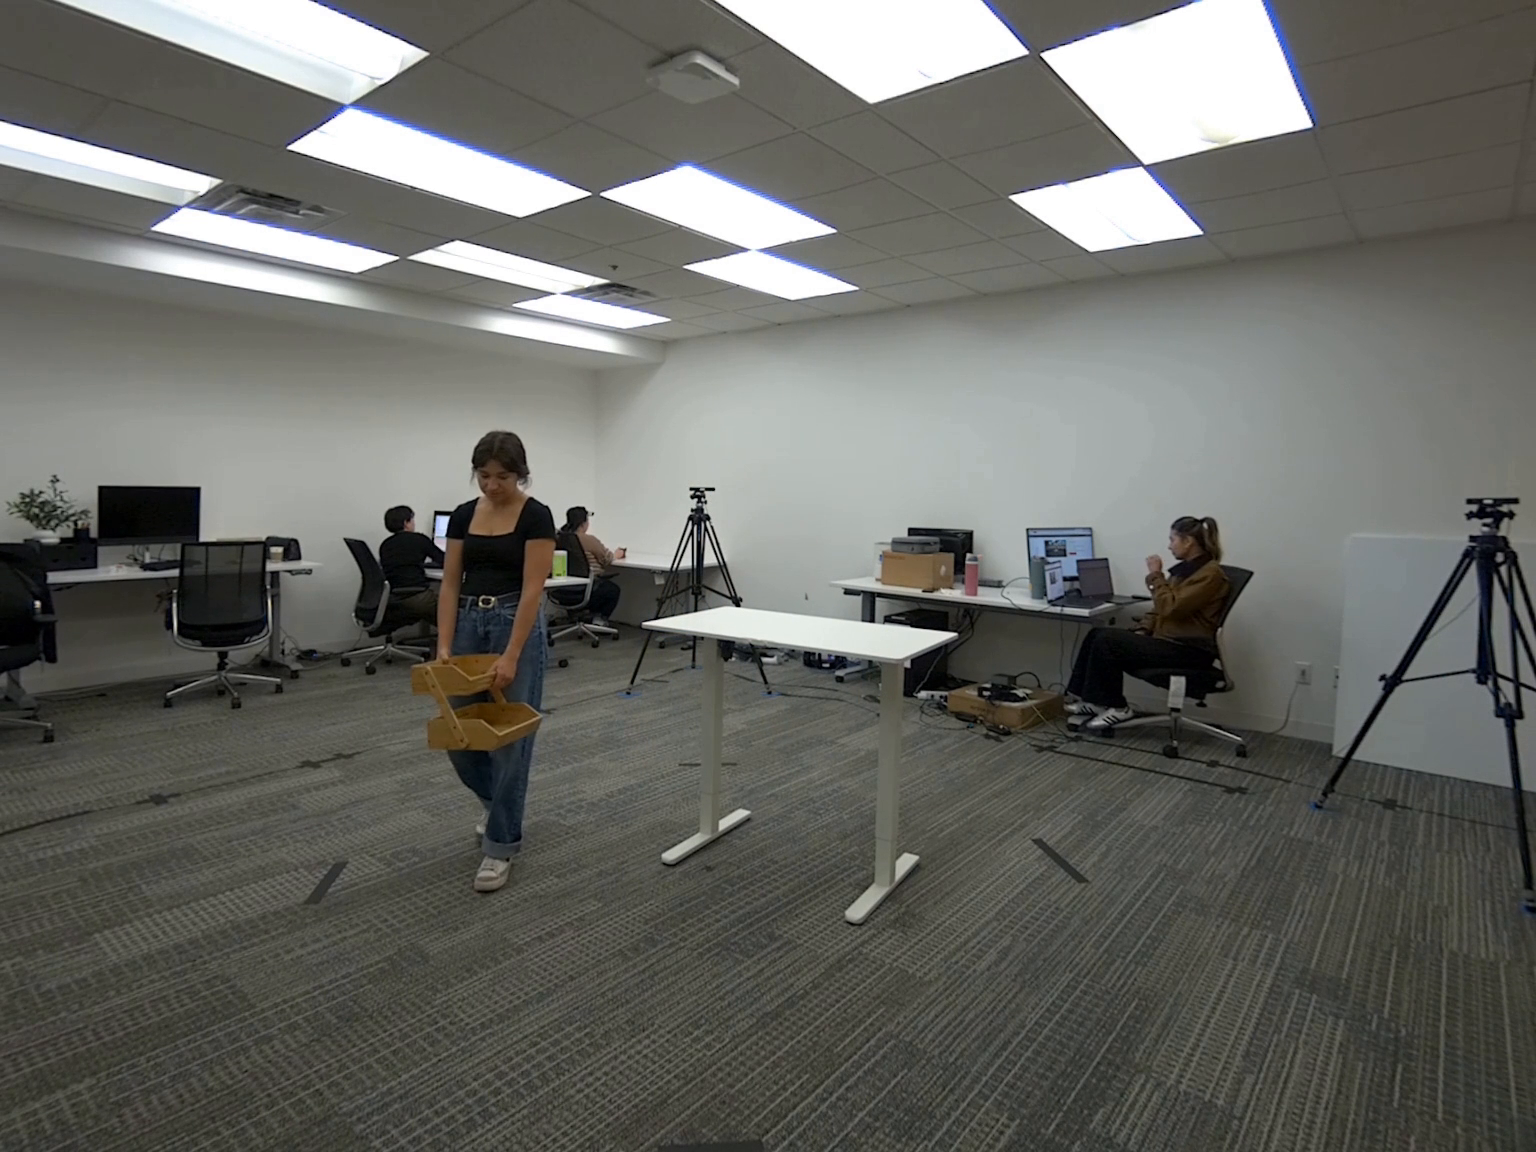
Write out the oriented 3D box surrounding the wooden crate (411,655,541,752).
[{"bbox_3d":[-0.957,0.396,2.792,0.306,0.274,0.319,-4,-1,13],"label":"wooden crate"}]
